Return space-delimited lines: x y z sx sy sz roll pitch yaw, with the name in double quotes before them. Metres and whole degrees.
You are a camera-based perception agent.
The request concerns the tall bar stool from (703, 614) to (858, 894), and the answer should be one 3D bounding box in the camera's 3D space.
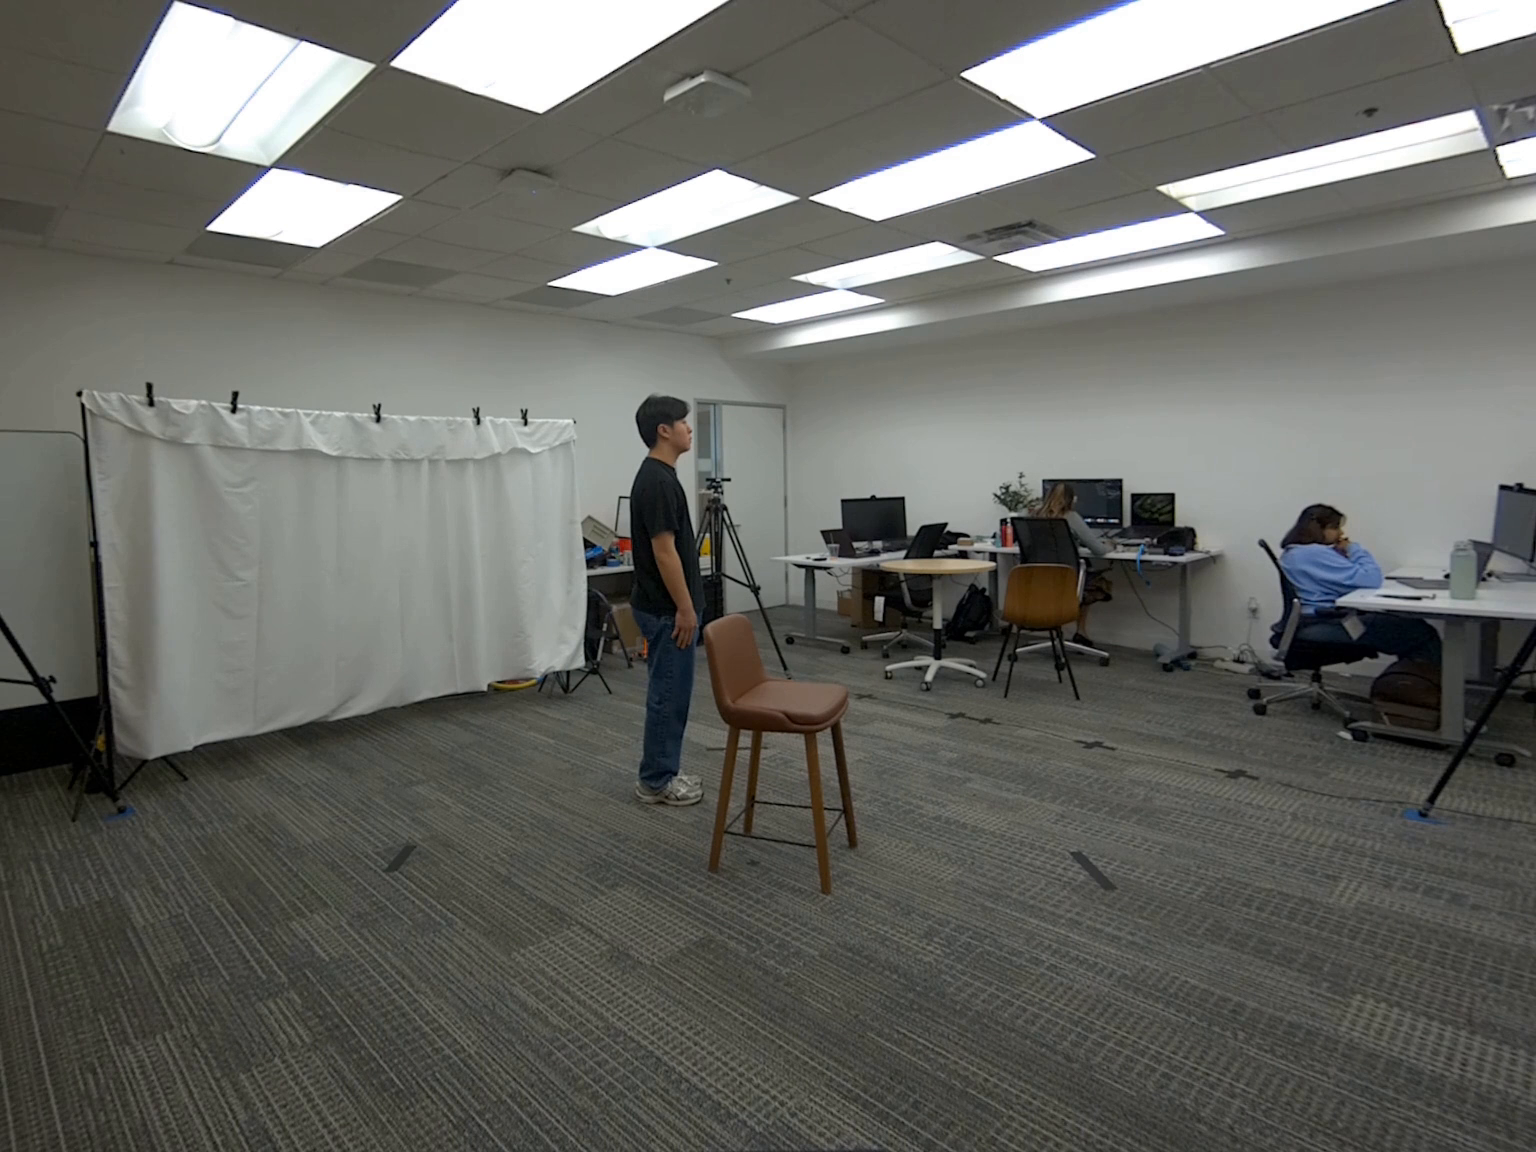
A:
"tall bar stool" 0.053 0.605 3.110 0.477 0.888 0.448 -1 3 23
